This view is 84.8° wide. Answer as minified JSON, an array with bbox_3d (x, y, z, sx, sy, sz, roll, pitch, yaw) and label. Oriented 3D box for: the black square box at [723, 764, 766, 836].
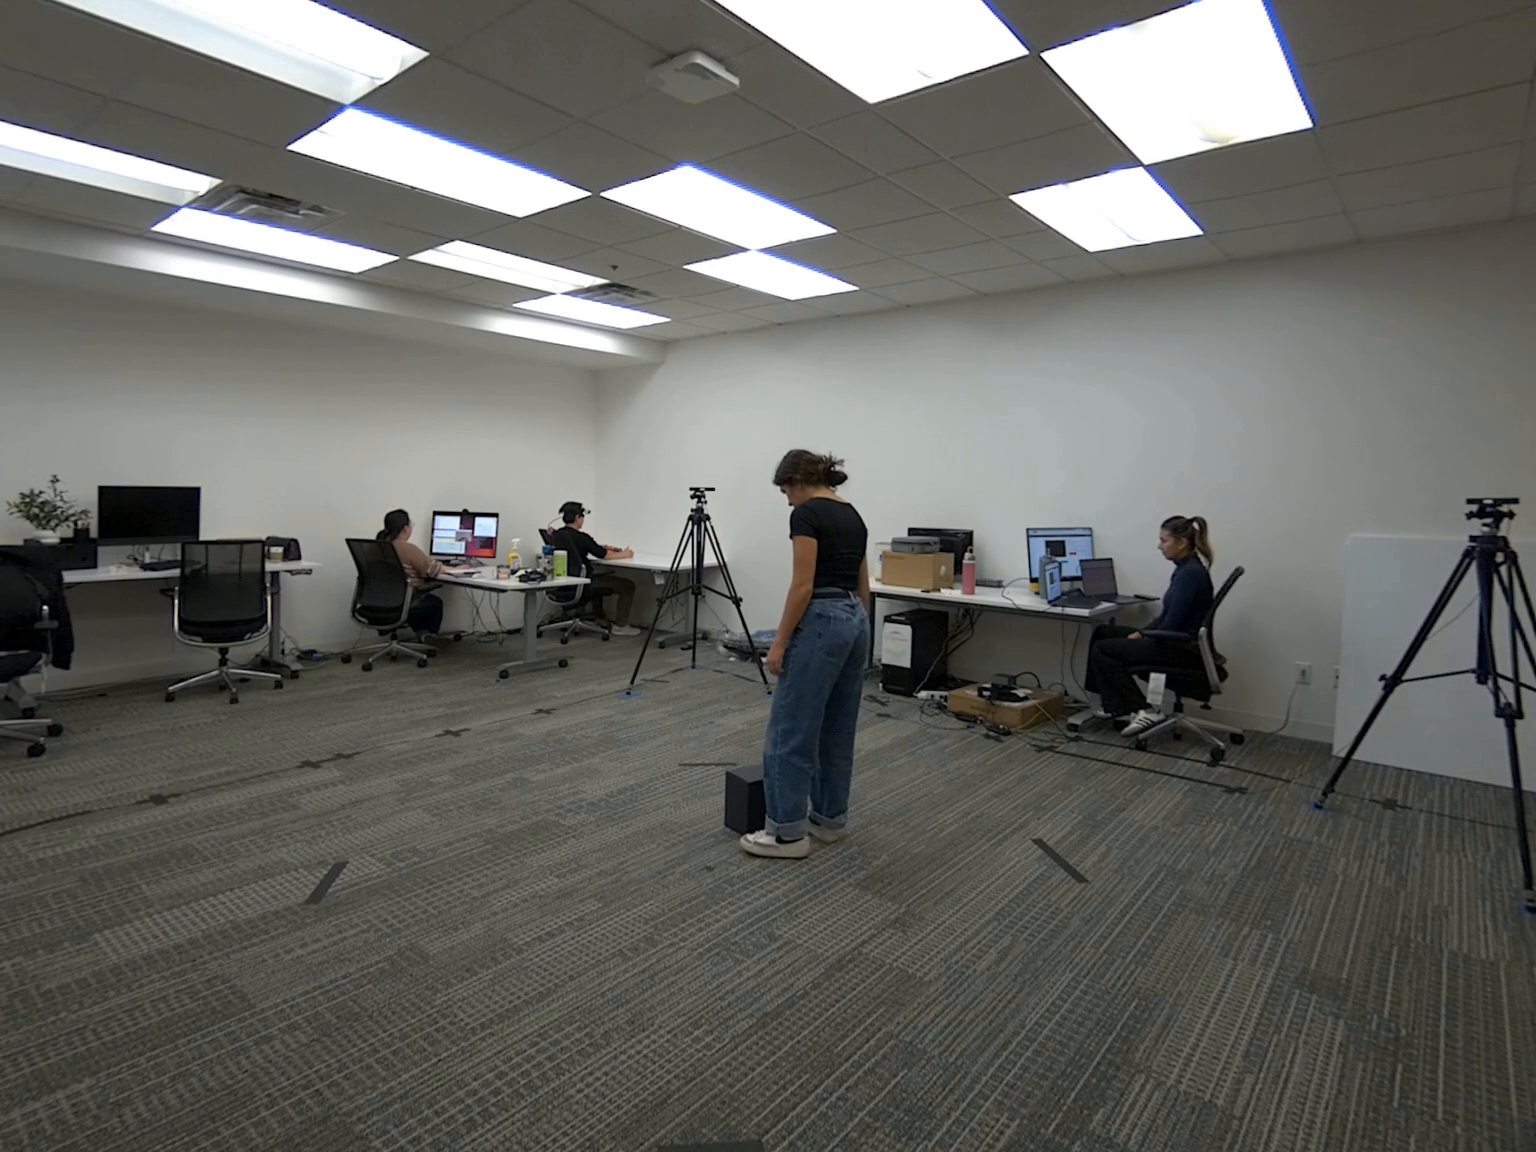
[{"bbox_3d":[-0.056,0.910,3.502,0.210,0.227,0.161,-1,4,-36],"label":"black square box"}]
